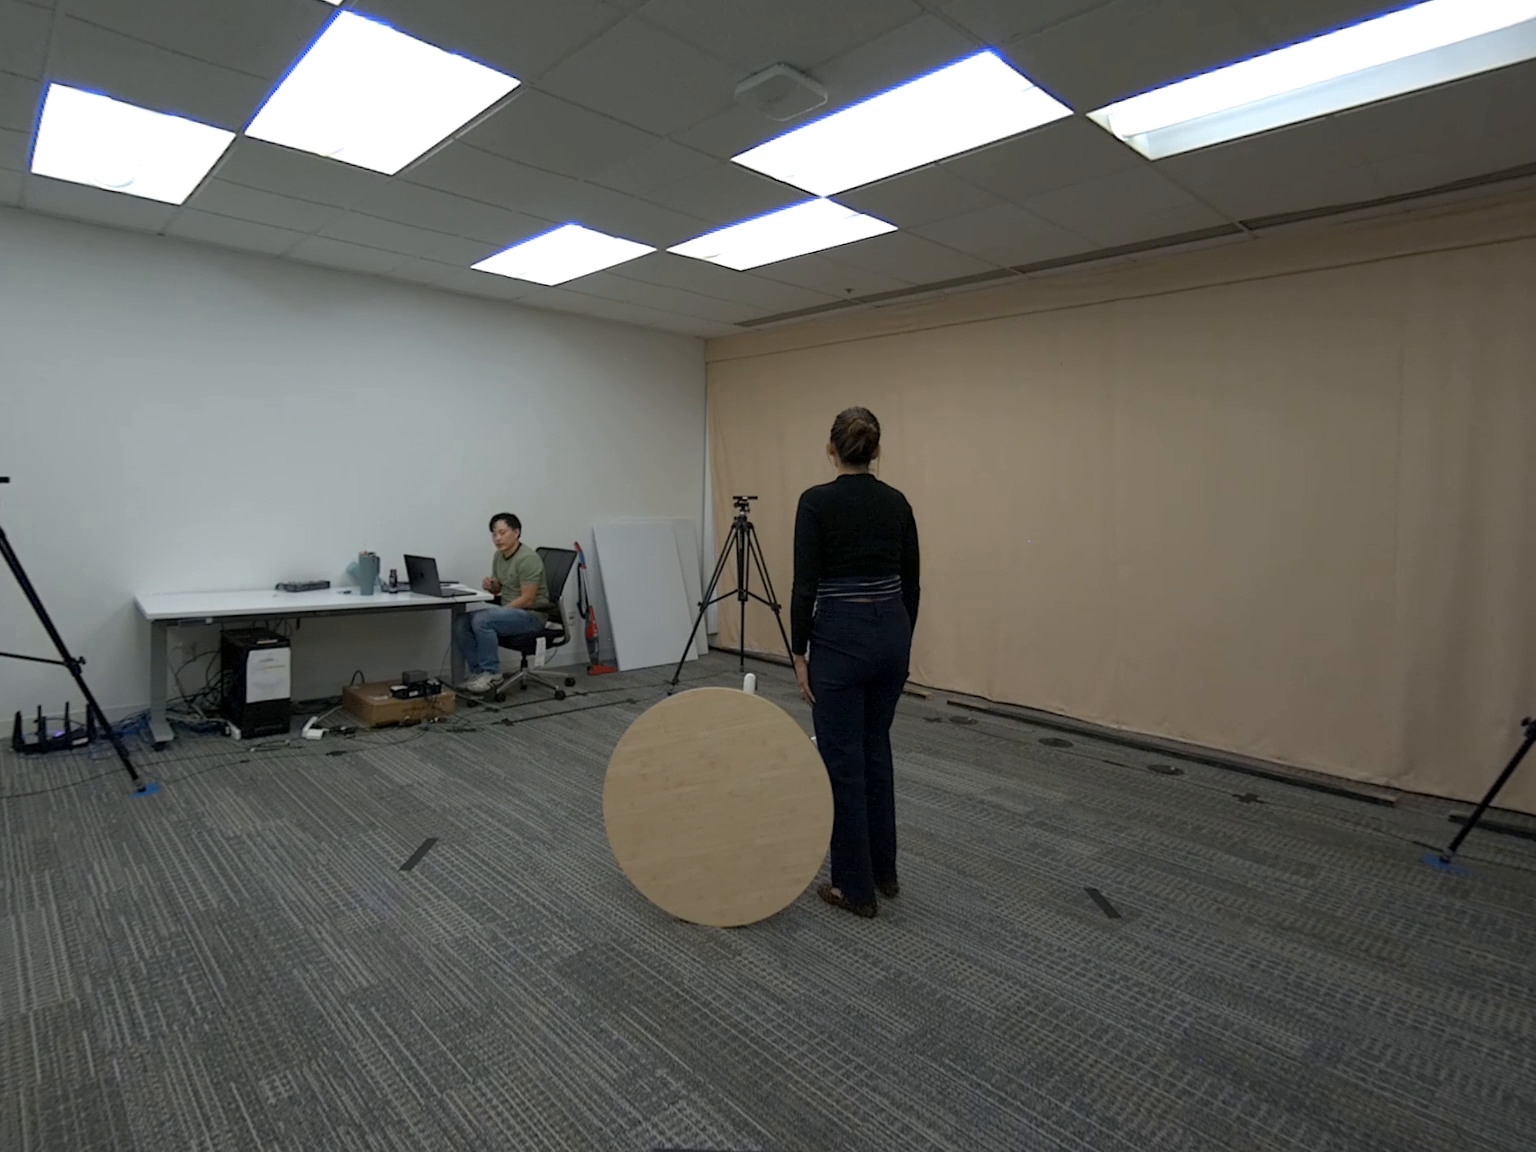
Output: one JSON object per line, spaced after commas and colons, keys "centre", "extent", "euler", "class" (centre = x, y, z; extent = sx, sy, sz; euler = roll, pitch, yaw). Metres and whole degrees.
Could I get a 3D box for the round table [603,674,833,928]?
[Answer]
{"centre": [-0.132, 0.763, 3.132], "extent": [0.769, 0.764, 0.788], "euler": [2, 0, 7], "class": "round table"}
